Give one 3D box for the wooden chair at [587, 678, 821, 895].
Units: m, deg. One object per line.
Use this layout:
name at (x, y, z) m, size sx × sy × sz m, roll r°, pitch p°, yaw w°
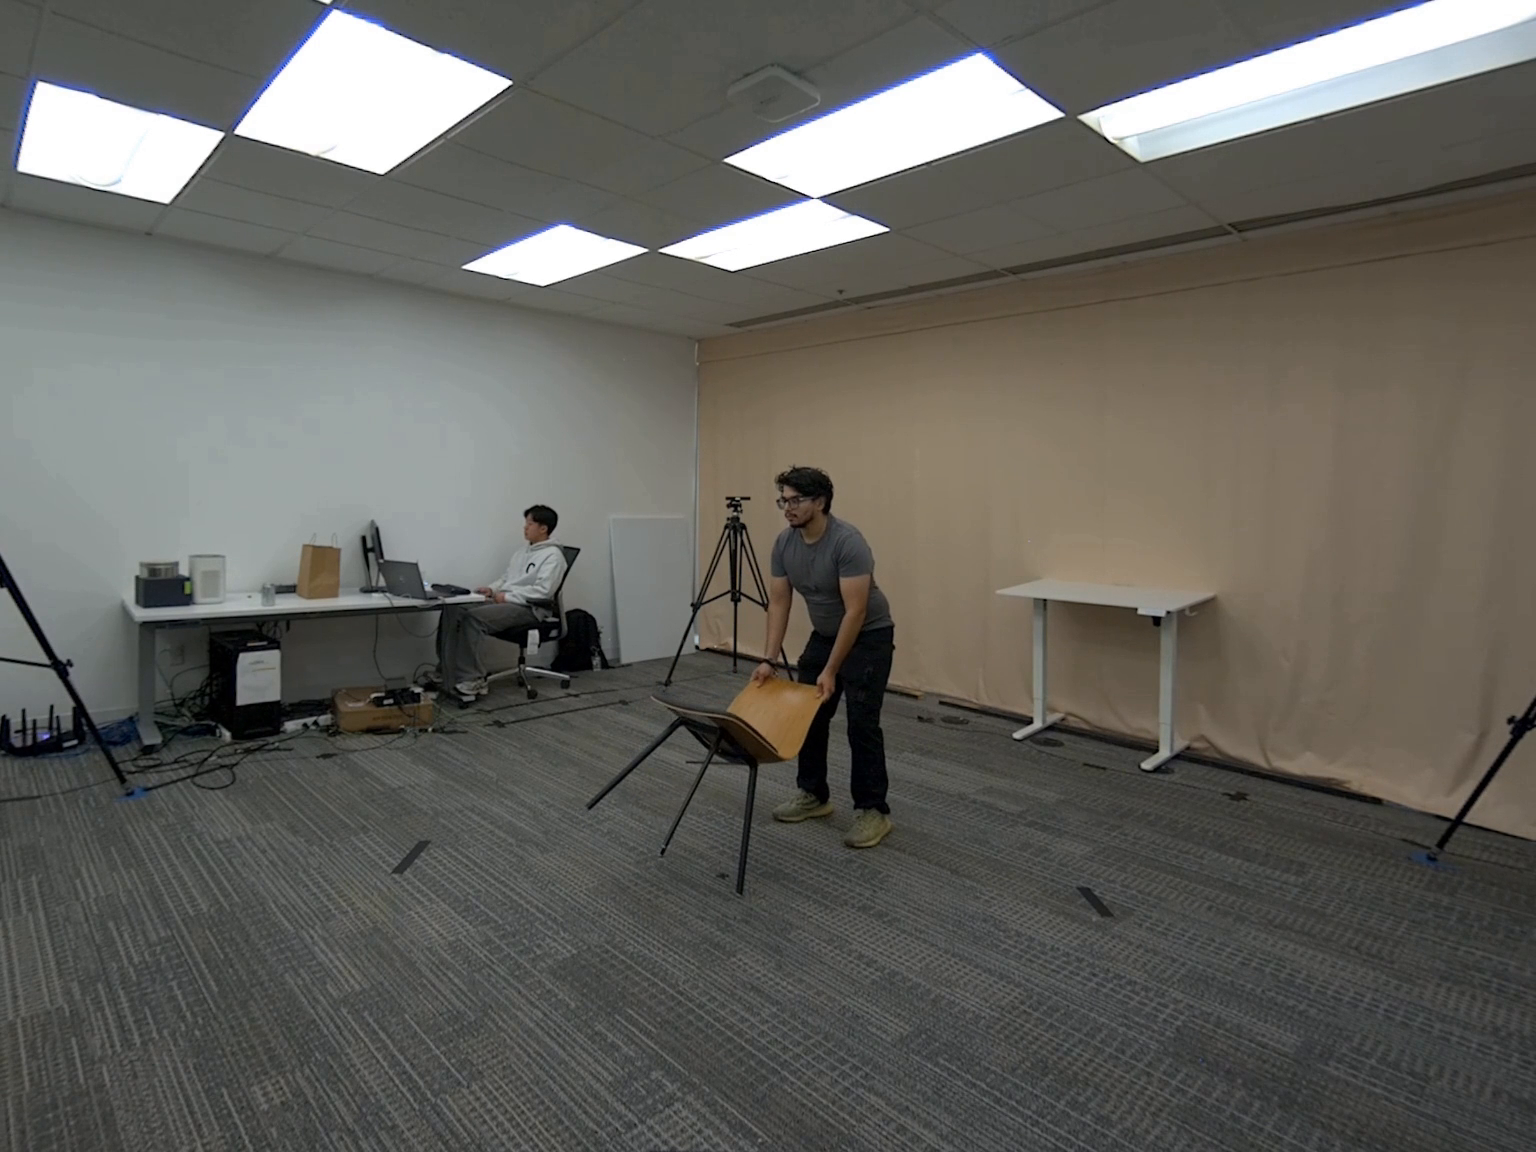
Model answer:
wooden chair at (-0.197, 0.620, 3.128) m, size 0.490 × 0.881 × 0.508 m, roll 5°, pitch -37°, yaw 45°
